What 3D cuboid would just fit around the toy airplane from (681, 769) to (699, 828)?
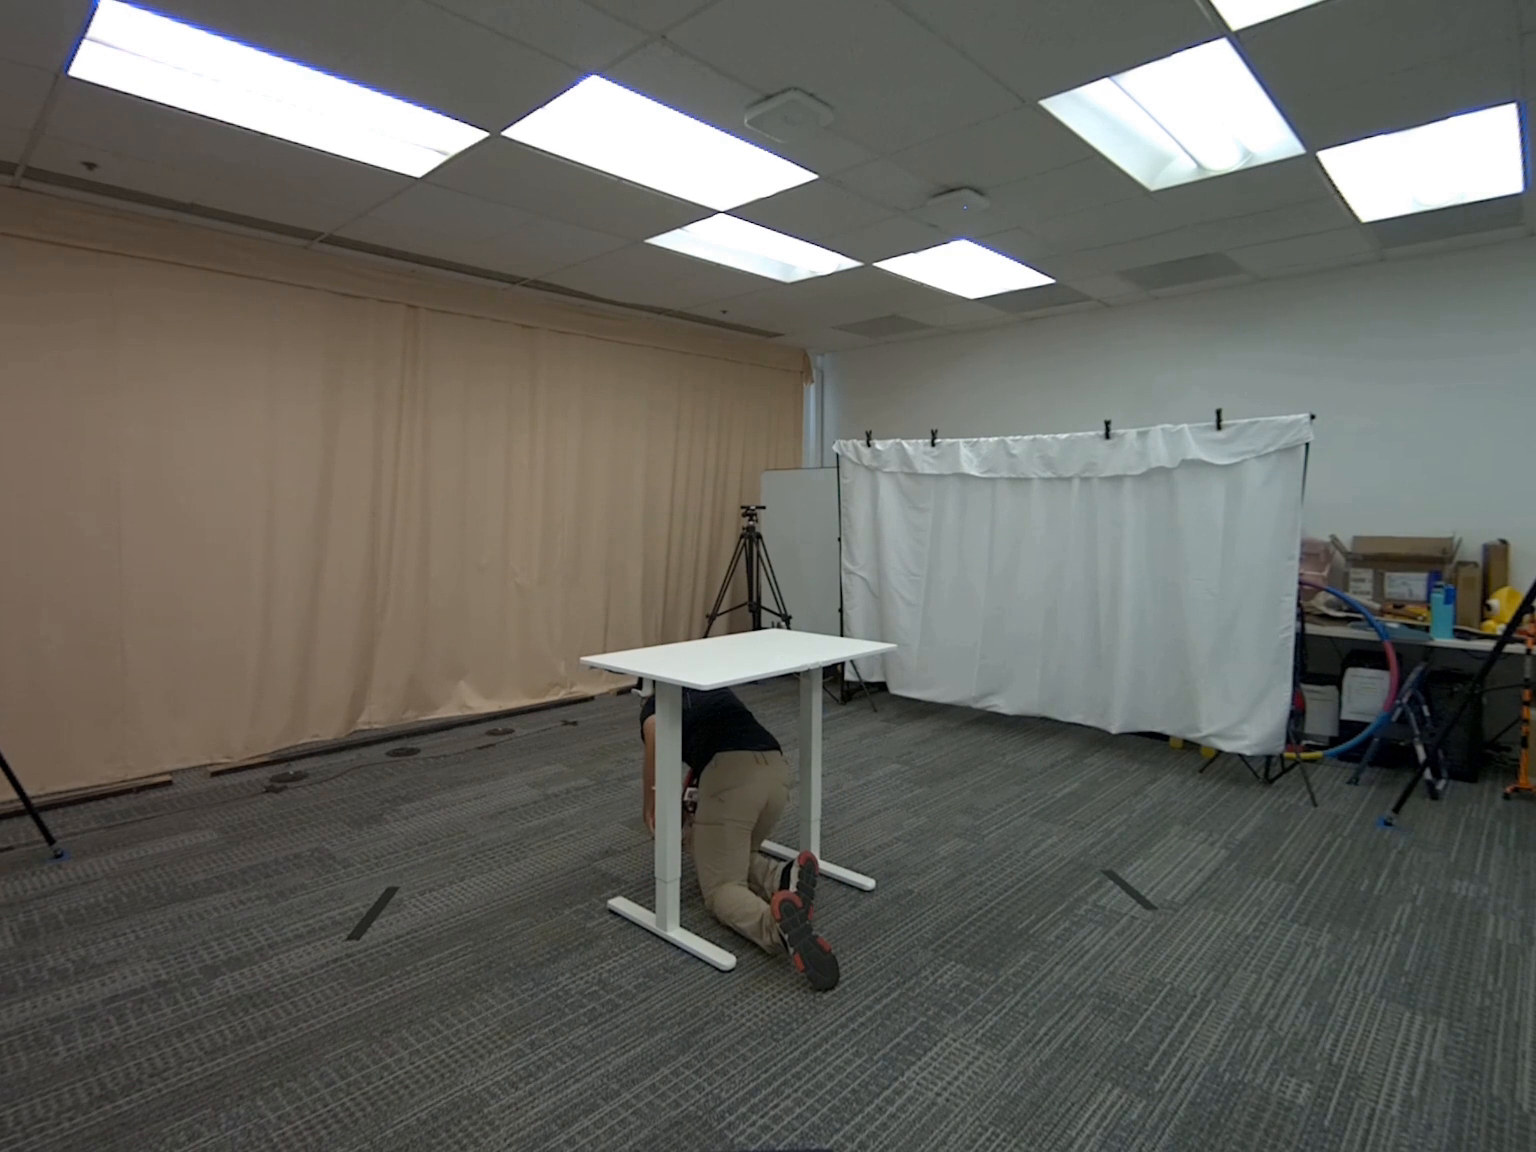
[{"bbox_3d":[-0.315,0.839,3.046,0.158,0.257,0.251,10,17,6],"label":"toy airplane"}]
